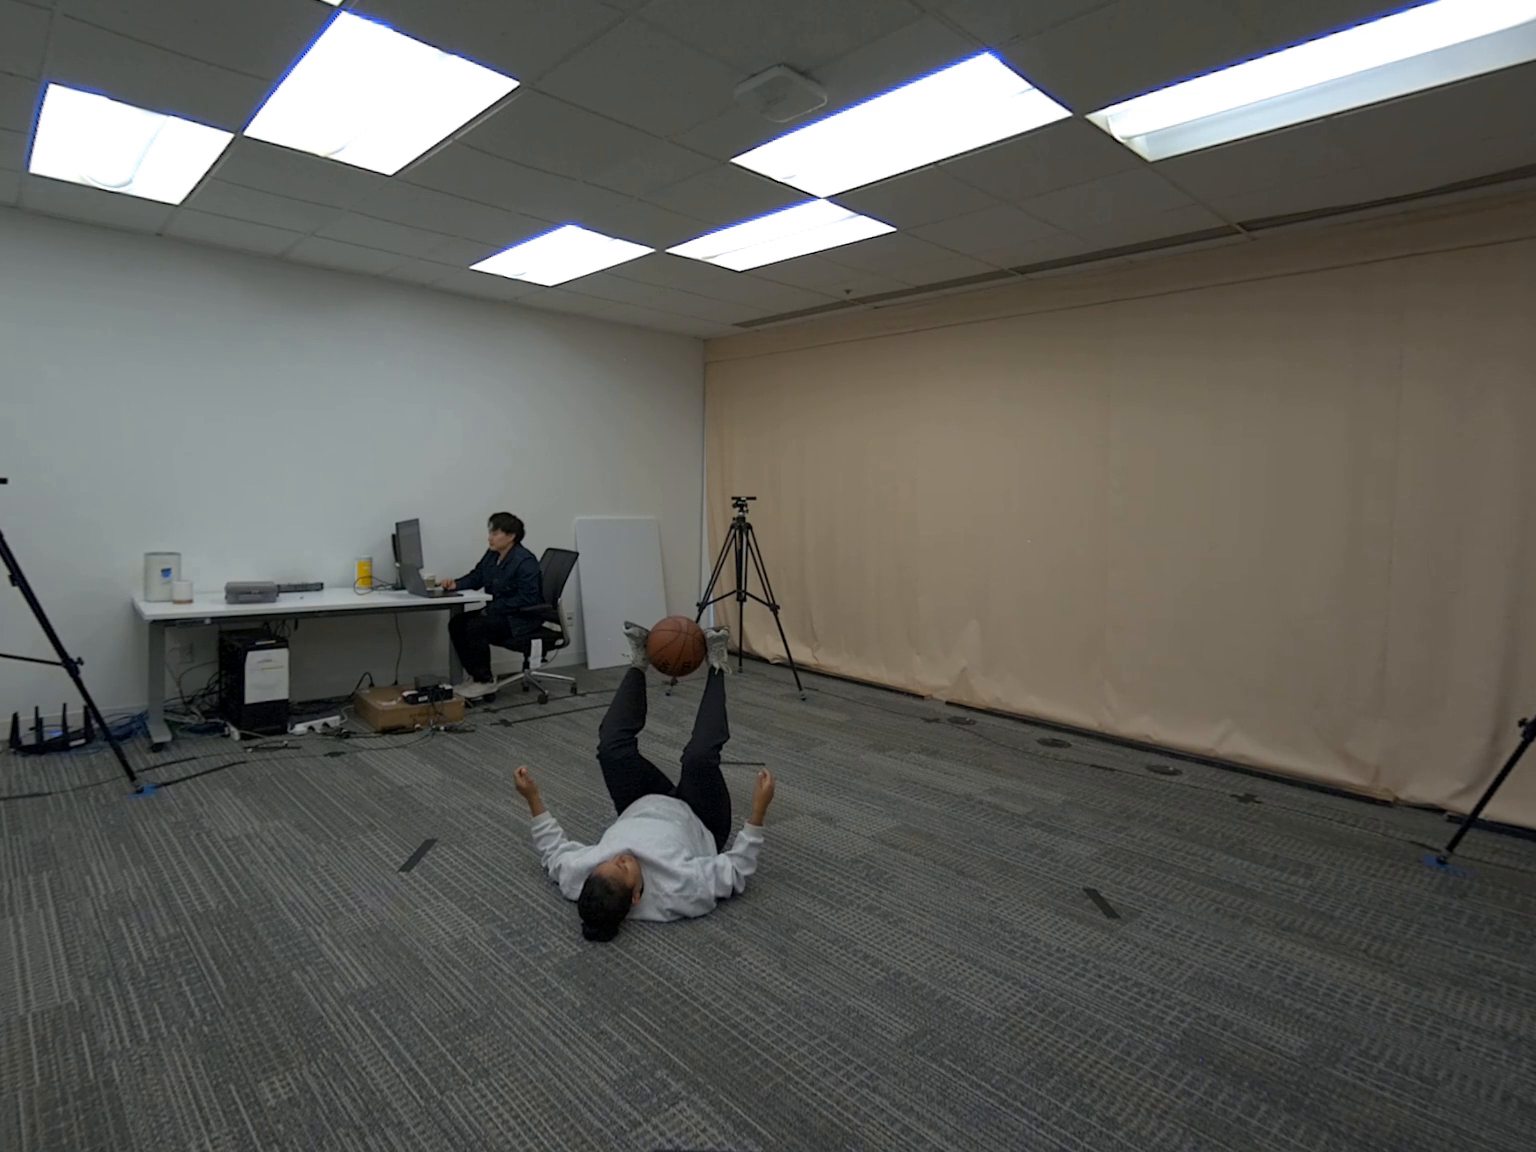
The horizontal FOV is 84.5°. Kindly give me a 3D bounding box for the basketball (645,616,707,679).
[{"bbox_3d":[-0.365,0.272,3.299,0.235,0.235,0.237,4,7,-2],"label":"basketball"}]
